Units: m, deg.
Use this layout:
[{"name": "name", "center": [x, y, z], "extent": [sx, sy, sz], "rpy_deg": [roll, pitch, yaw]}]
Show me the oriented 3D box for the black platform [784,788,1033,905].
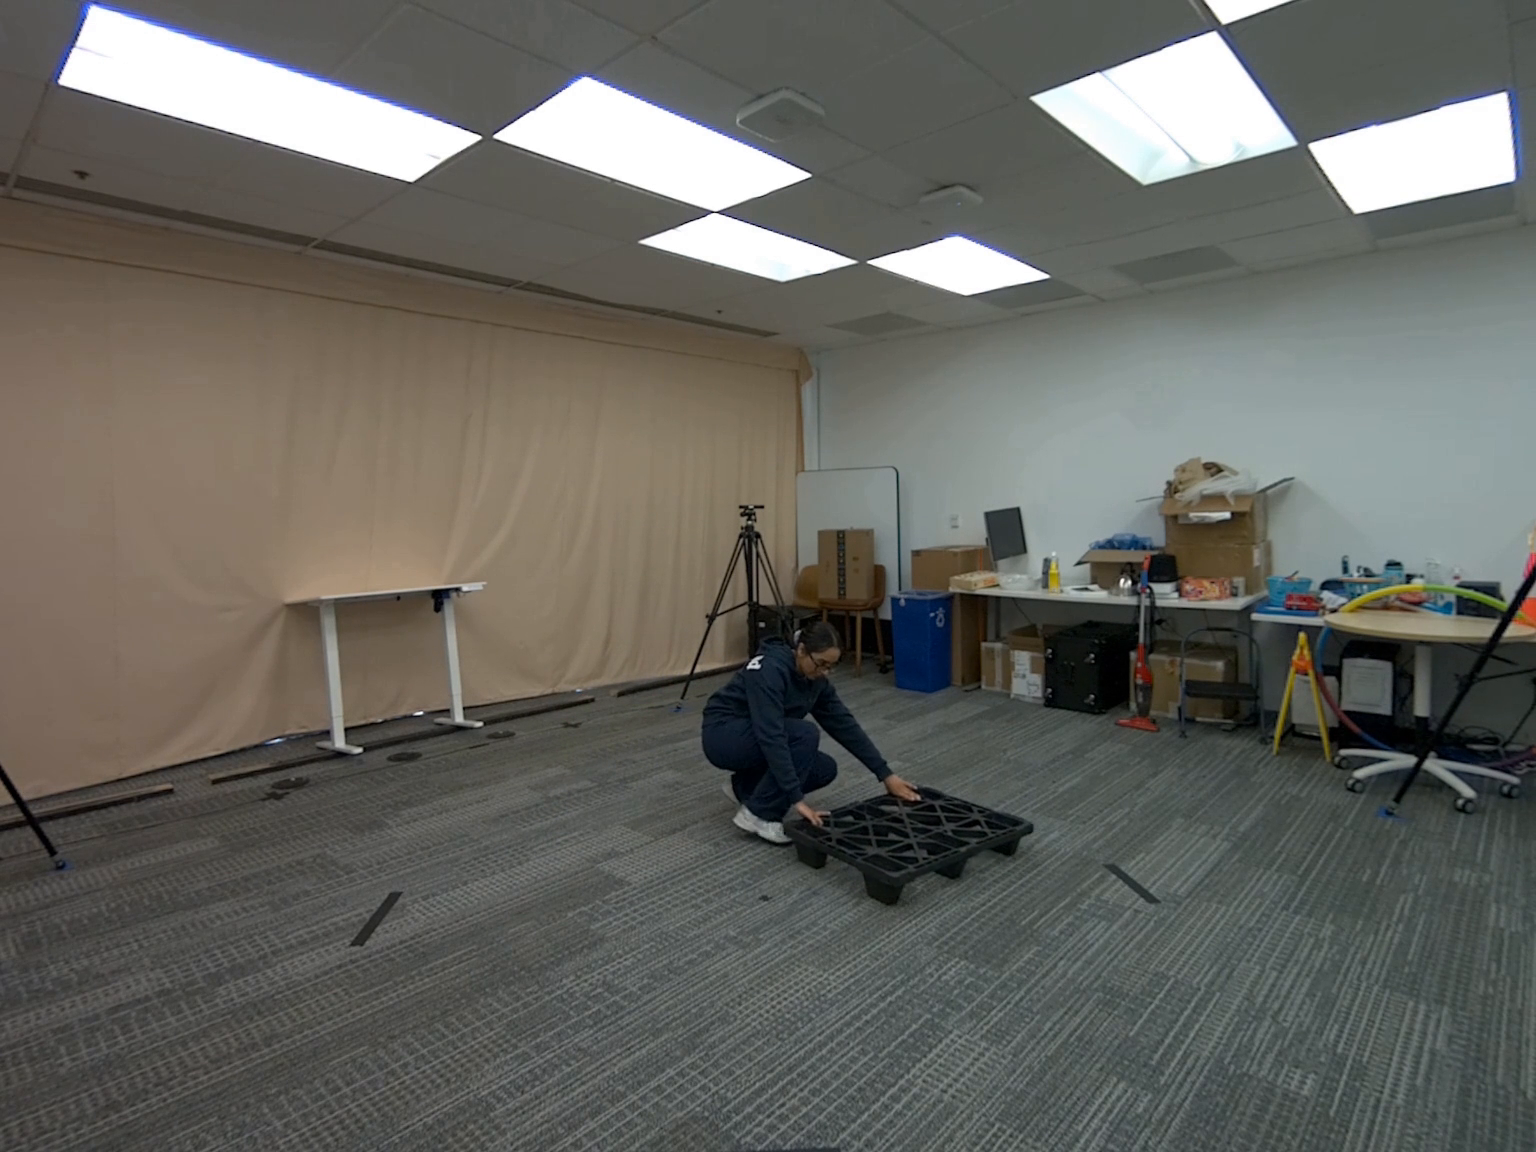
[{"name": "black platform", "center": [0.548, 1.036, 3.301], "extent": [0.782, 0.143, 0.624], "rpy_deg": [-4, 5, -37]}]
